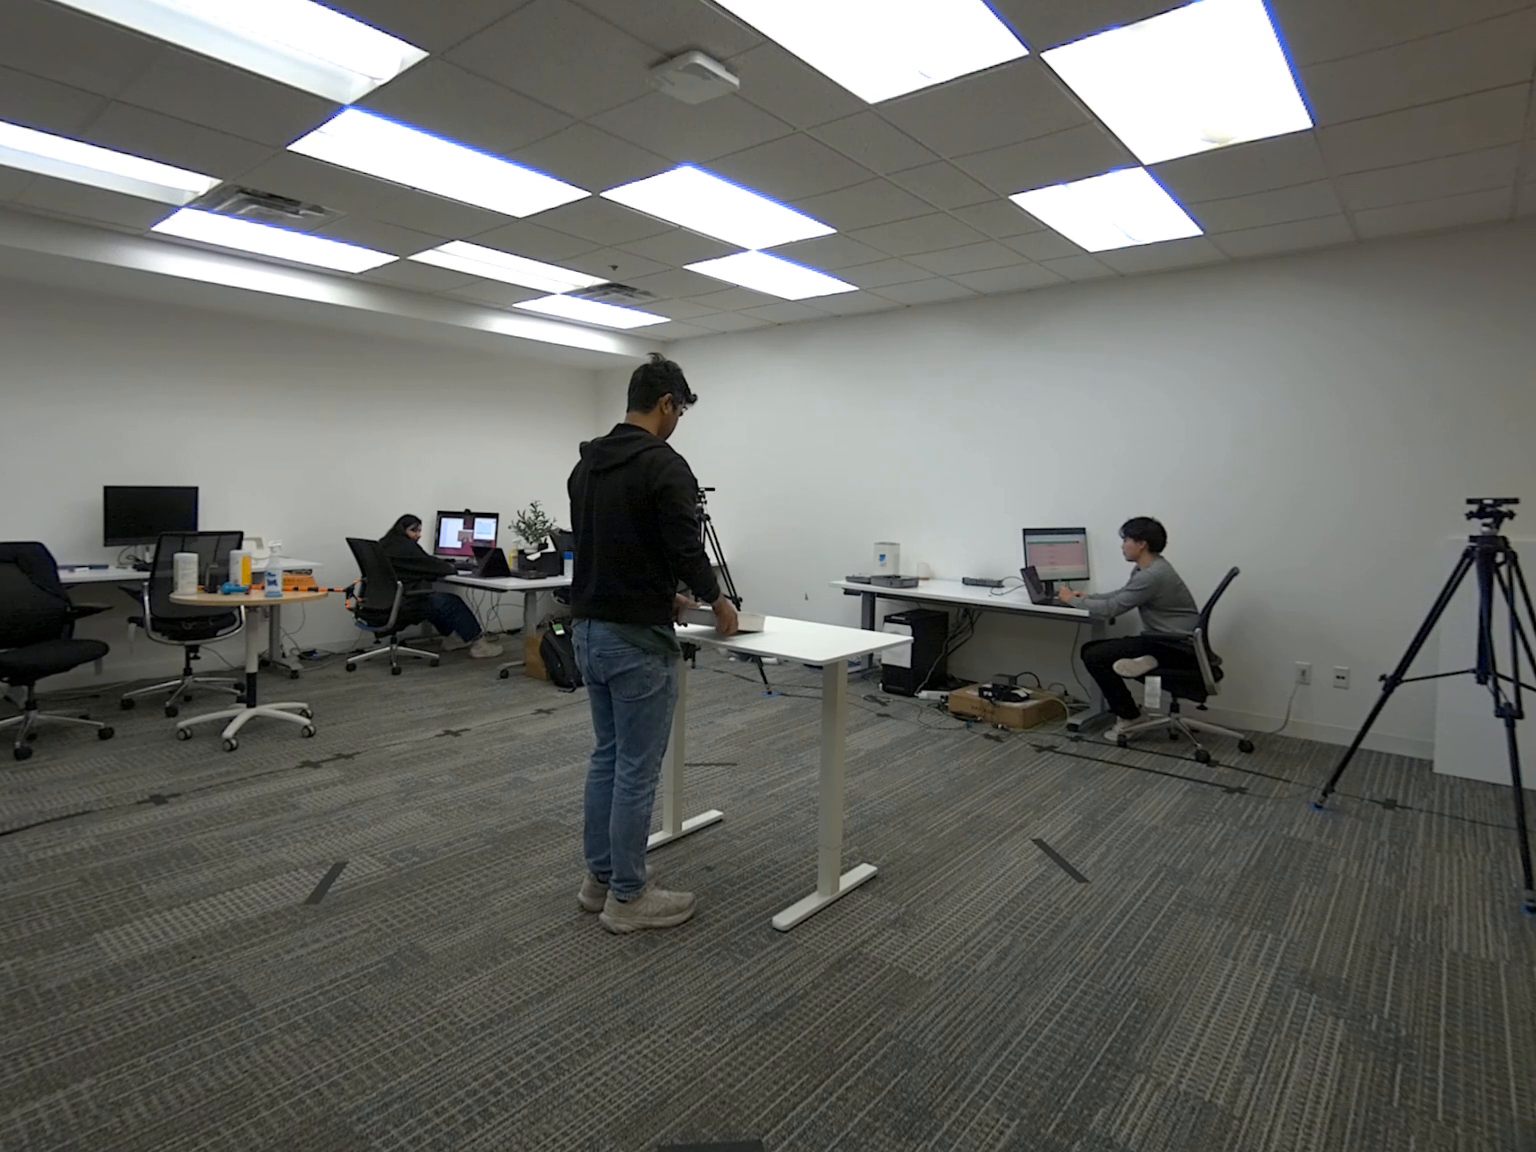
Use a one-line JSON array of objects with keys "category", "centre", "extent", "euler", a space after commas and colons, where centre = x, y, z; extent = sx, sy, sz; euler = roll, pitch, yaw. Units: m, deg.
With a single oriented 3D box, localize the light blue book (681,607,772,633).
[{"category": "light blue book", "centre": [-0.148, 0.153, 2.996], "extent": [0.198, 0.059, 0.252], "euler": [7, 2, 41]}]
